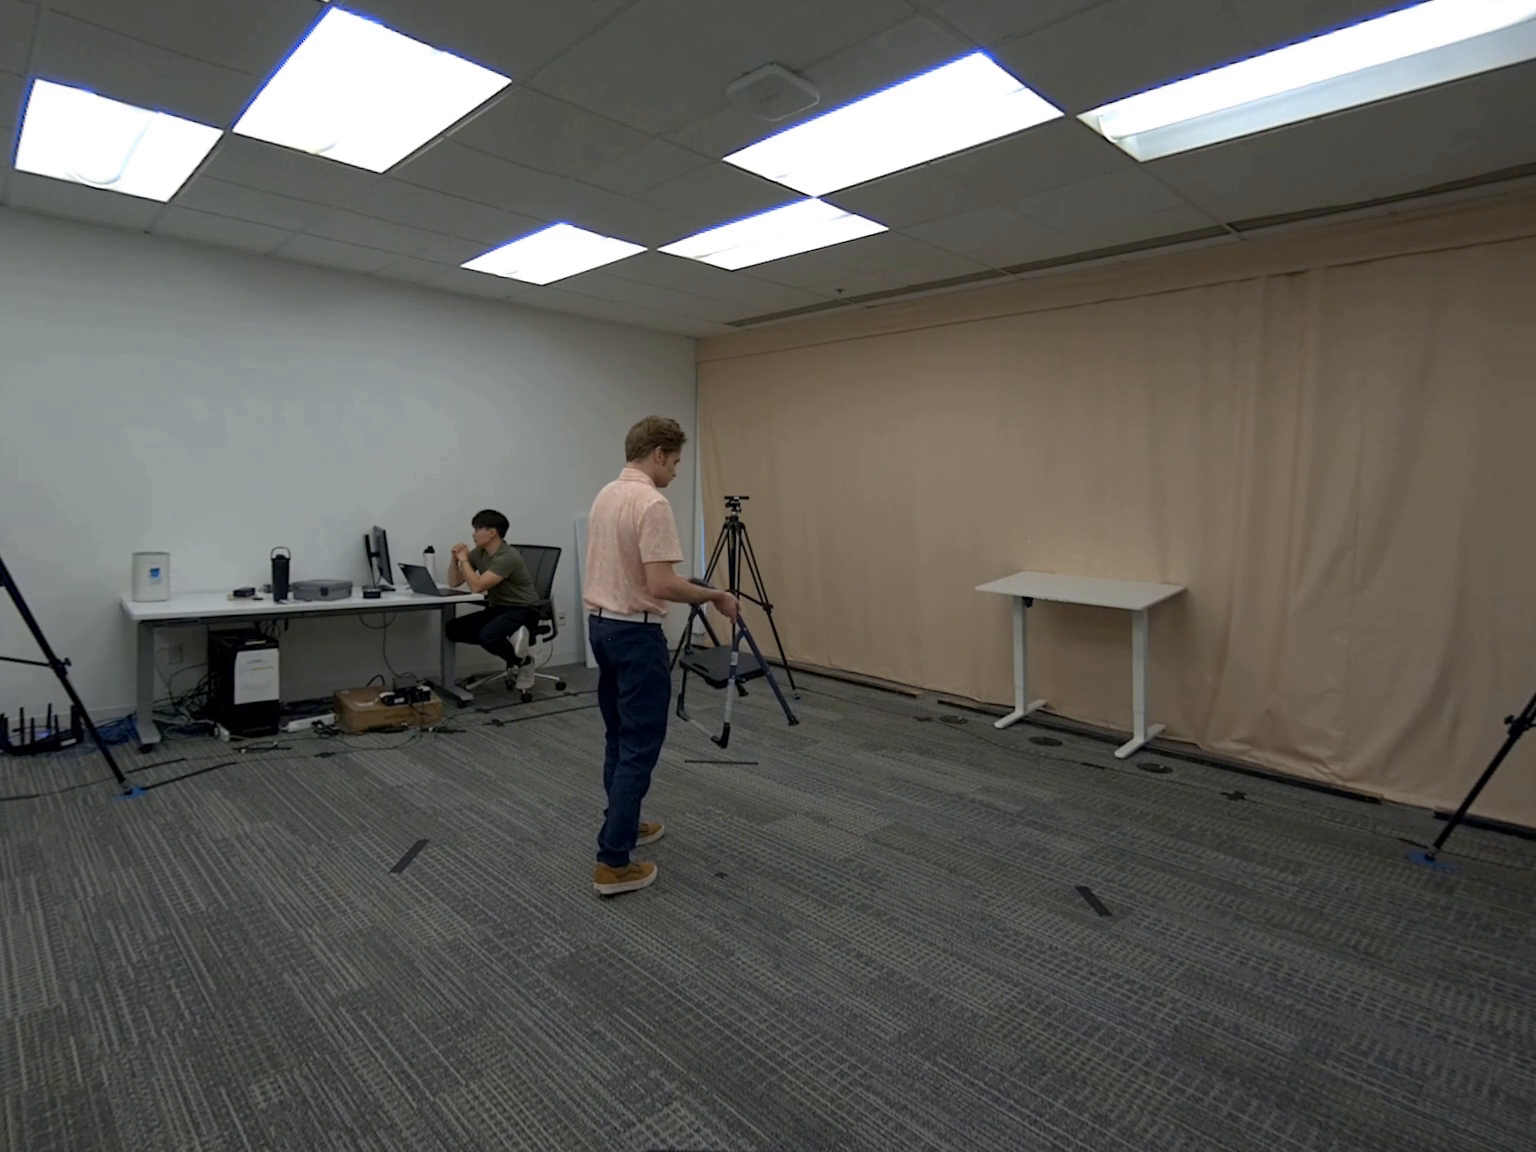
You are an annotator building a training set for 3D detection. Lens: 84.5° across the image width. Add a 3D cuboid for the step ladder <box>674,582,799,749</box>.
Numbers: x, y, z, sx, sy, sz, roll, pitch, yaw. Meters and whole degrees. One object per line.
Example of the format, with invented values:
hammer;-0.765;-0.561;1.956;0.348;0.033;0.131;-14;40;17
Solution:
step ladder;-0.173;0.294;3.362;0.344;0.600;0.442;-14;15;-29
